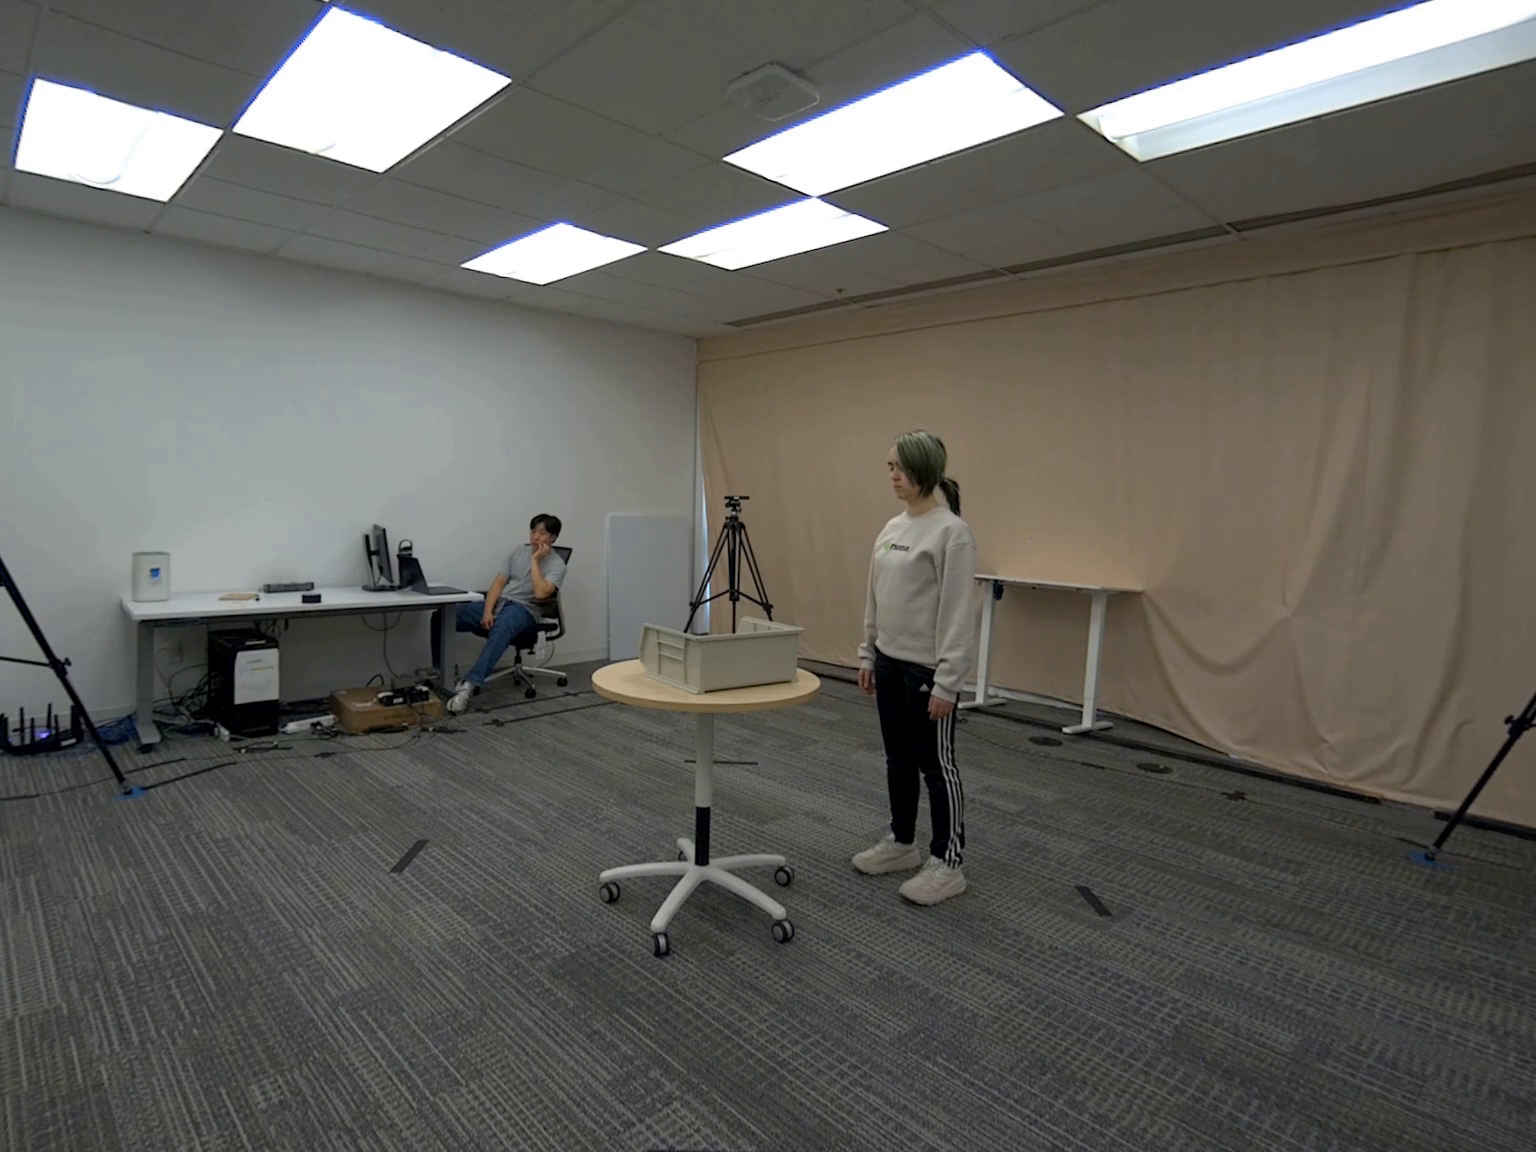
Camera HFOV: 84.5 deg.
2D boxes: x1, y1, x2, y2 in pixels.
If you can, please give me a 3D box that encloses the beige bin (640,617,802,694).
[{"bbox_3d":[-0.169,0.256,2.824,0.413,0.188,0.387,-1,7,-36],"label":"beige bin"}]
